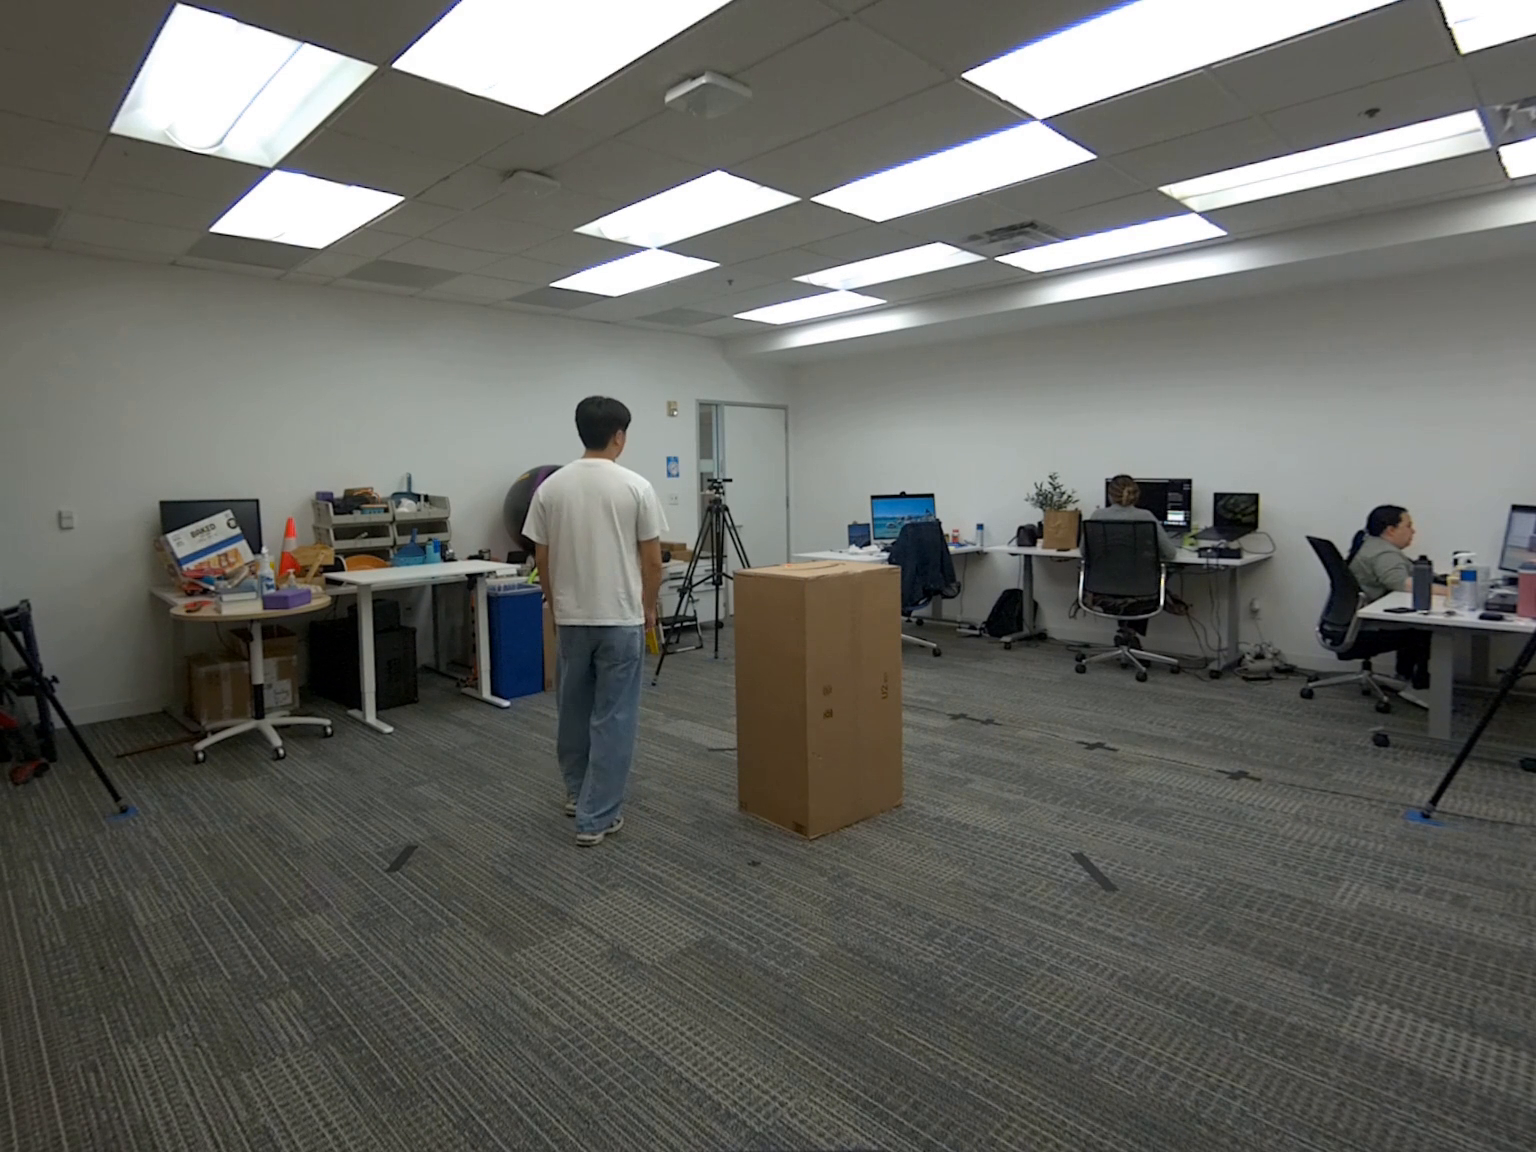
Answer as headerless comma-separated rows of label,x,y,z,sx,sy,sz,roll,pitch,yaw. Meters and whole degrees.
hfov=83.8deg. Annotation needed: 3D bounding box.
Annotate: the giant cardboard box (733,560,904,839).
giant cardboard box,0.211,0.475,3.597,0.562,1.022,0.439,-5,6,-41
